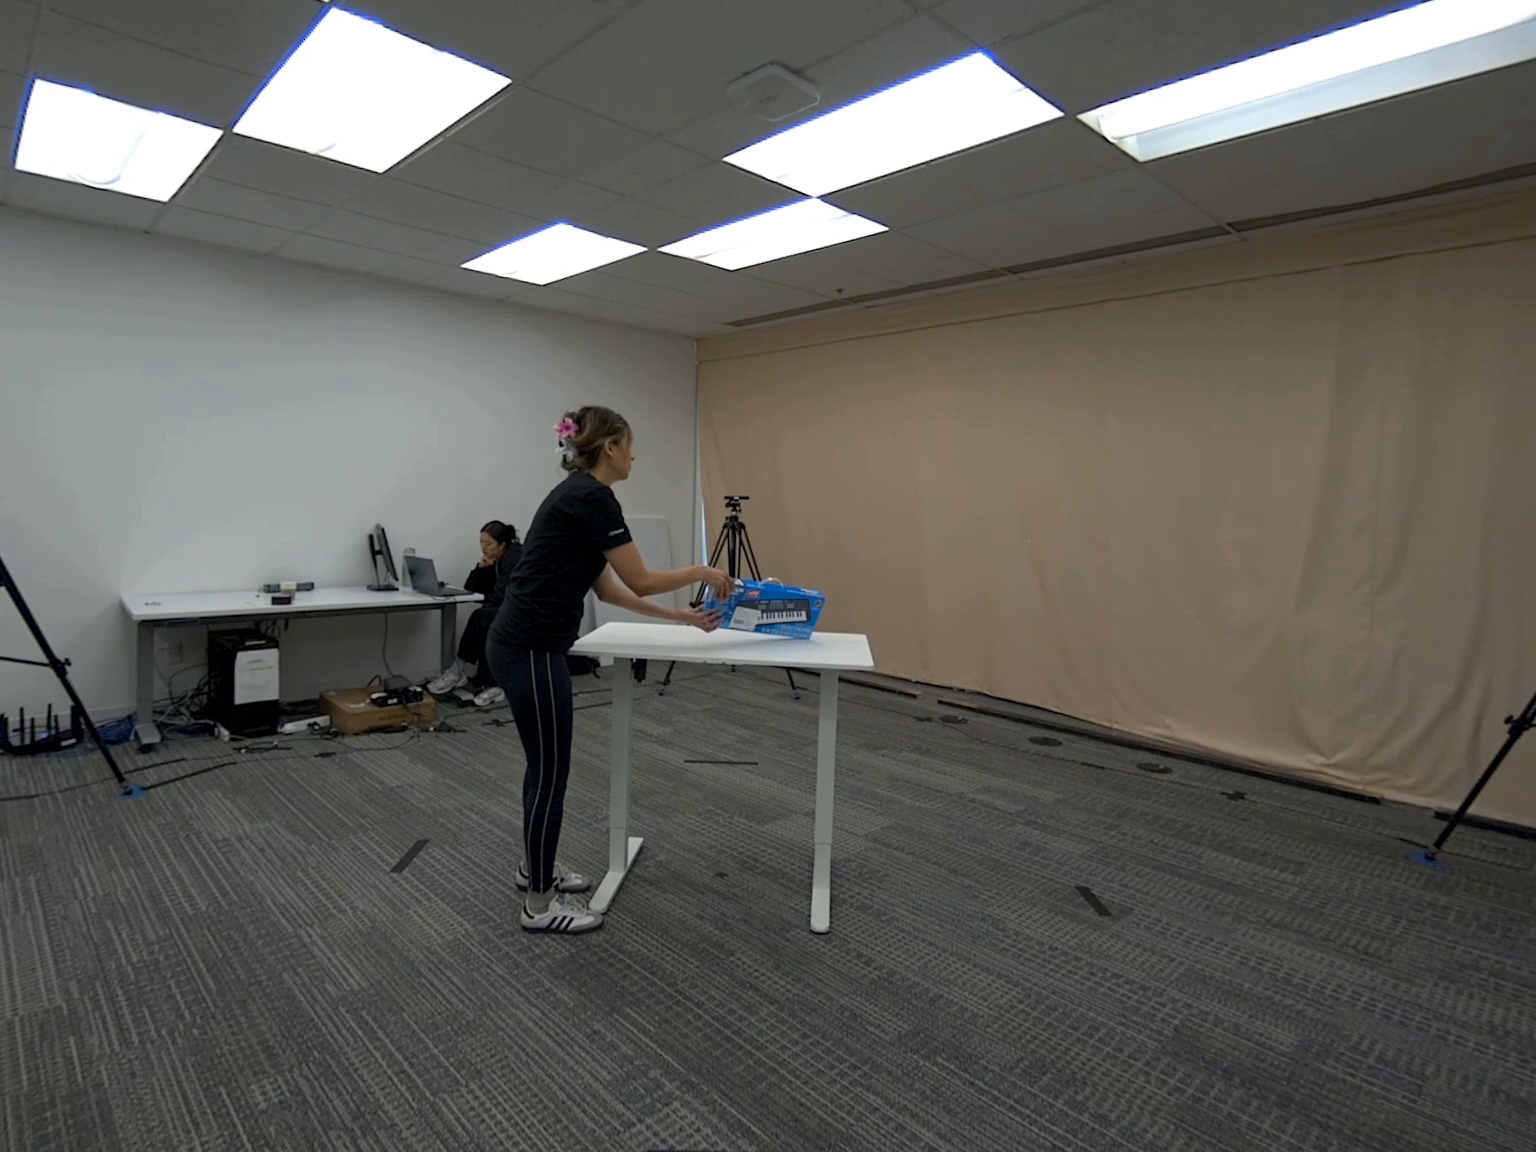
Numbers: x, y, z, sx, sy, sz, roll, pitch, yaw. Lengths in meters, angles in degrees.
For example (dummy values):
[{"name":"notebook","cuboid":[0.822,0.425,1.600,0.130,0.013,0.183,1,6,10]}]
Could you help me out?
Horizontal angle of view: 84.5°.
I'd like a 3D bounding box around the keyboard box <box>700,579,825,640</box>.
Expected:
[{"name":"keyboard box","cuboid":[-0.020,0.116,2.968,0.427,0.174,0.061,9,19,-28]}]
